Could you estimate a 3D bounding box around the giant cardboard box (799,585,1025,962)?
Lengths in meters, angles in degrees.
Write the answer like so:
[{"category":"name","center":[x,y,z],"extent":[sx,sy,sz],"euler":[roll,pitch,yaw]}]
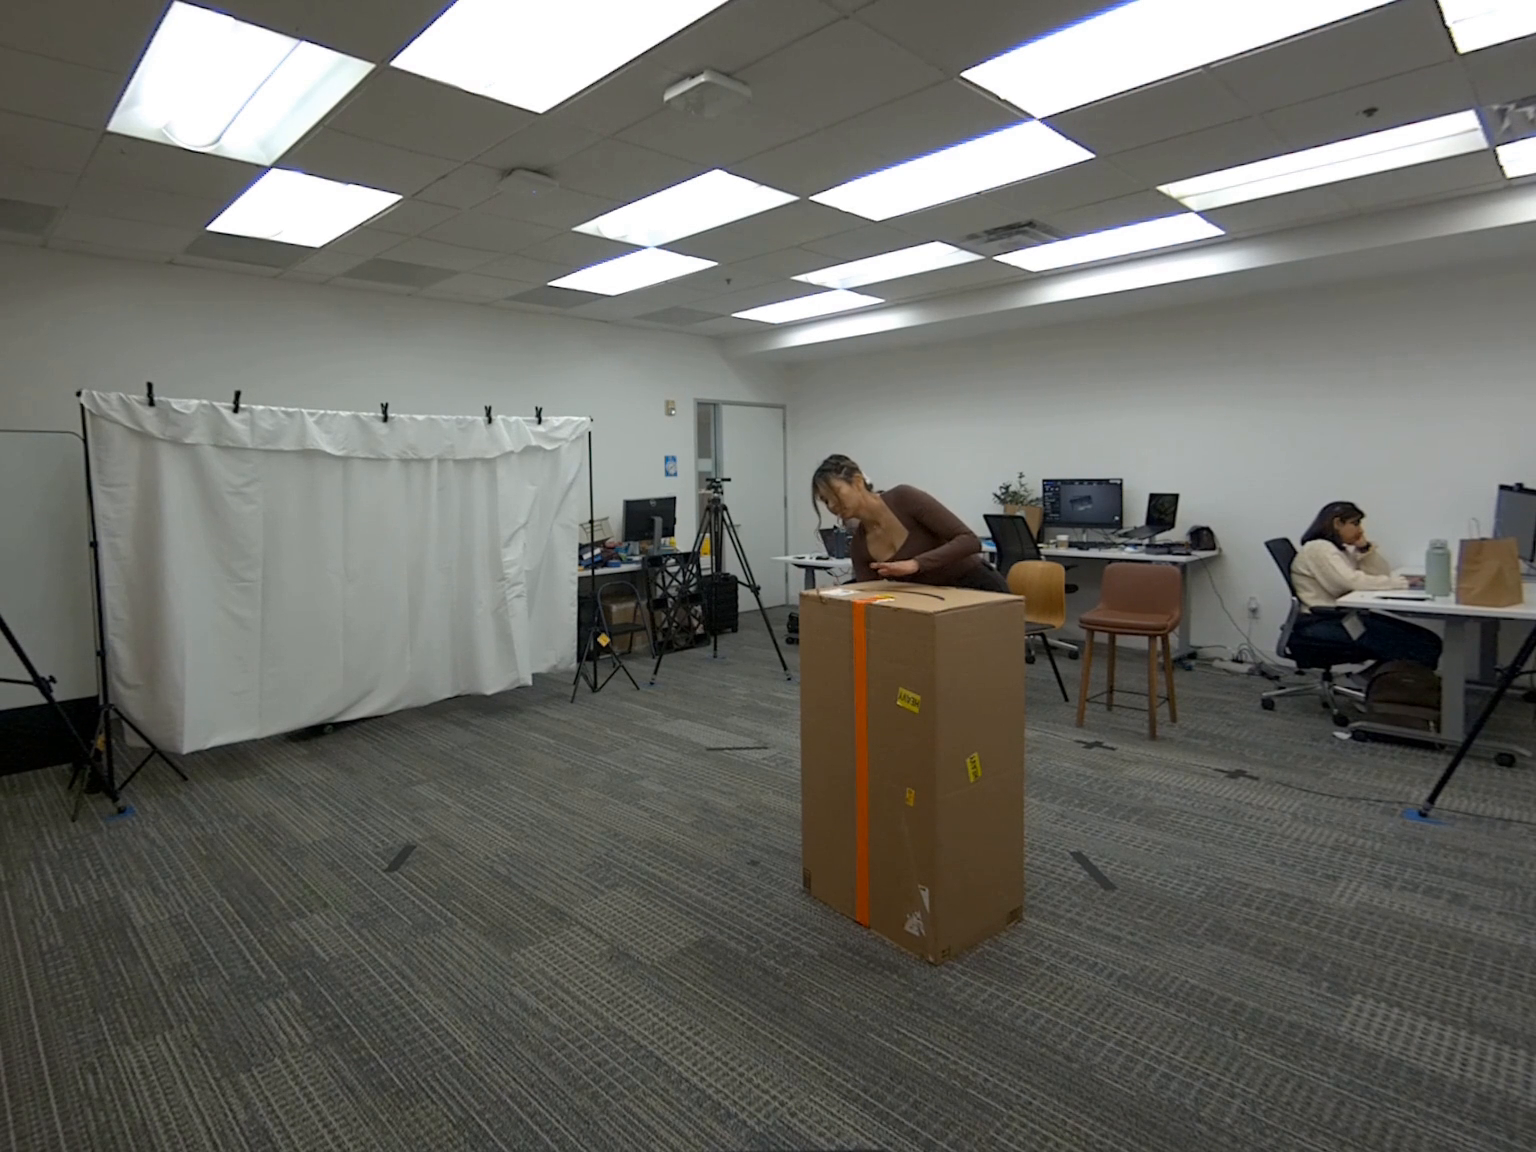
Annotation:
[{"category":"giant cardboard box","center":[0.452,0.564,2.746],"extent":[0.435,1.023,0.601],"euler":[-5,5,-37]}]
